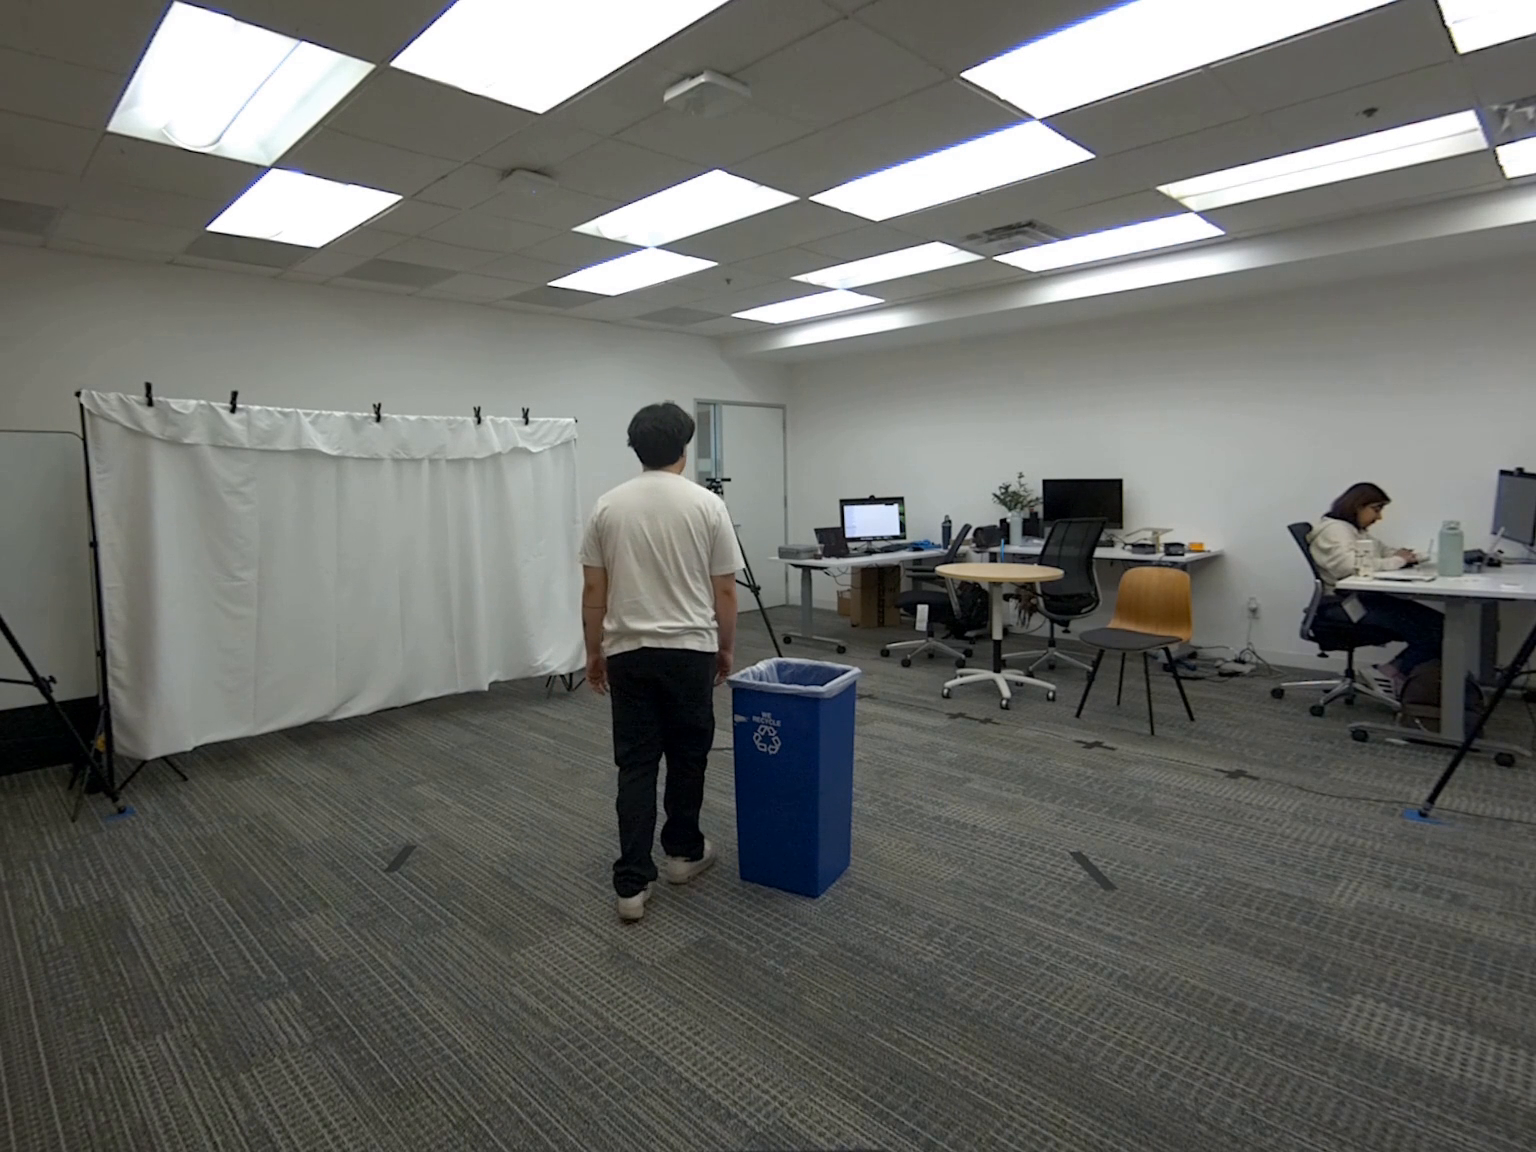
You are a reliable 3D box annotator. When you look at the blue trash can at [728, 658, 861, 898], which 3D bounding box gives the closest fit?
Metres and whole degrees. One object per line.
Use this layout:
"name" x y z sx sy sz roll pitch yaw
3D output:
"blue trash can" 0.104 0.691 3.010 0.384 0.711 0.370 1 5 30
